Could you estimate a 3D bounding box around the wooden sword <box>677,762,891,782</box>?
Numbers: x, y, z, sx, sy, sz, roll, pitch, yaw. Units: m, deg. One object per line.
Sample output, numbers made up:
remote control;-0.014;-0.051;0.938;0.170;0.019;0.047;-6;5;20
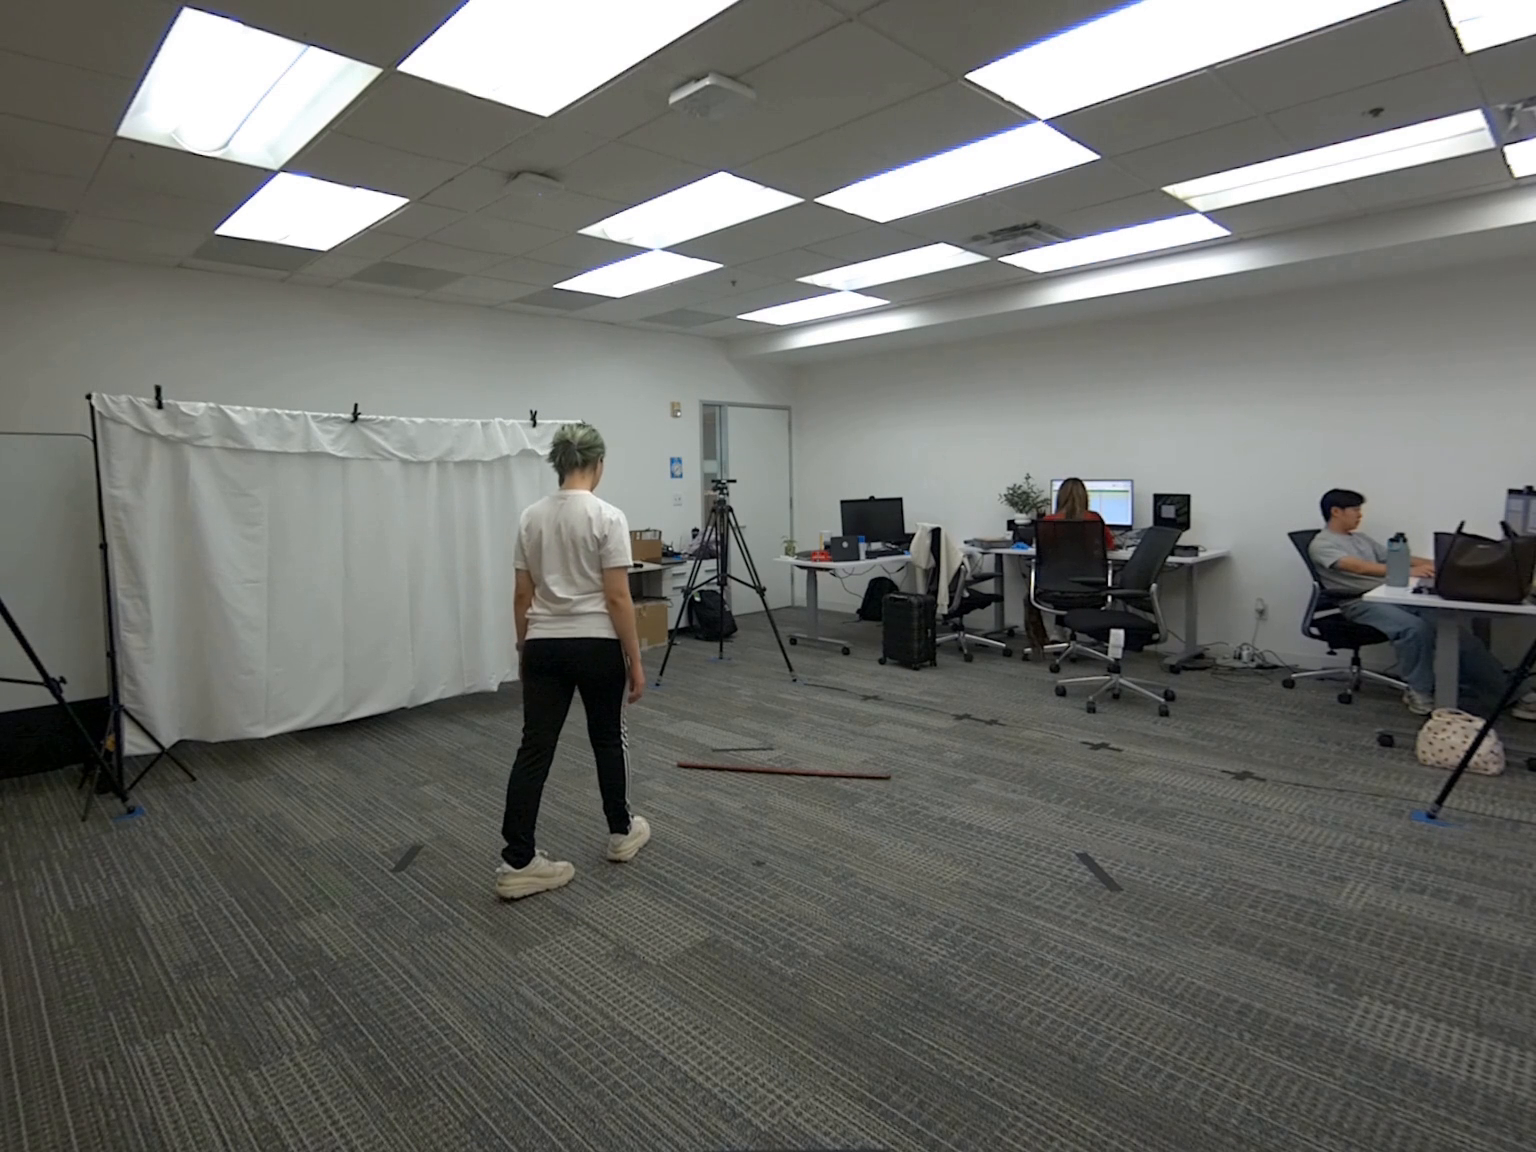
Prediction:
wooden sword;0.050;0.917;4.054;1.037;0.052;0.023;0;-35;12
